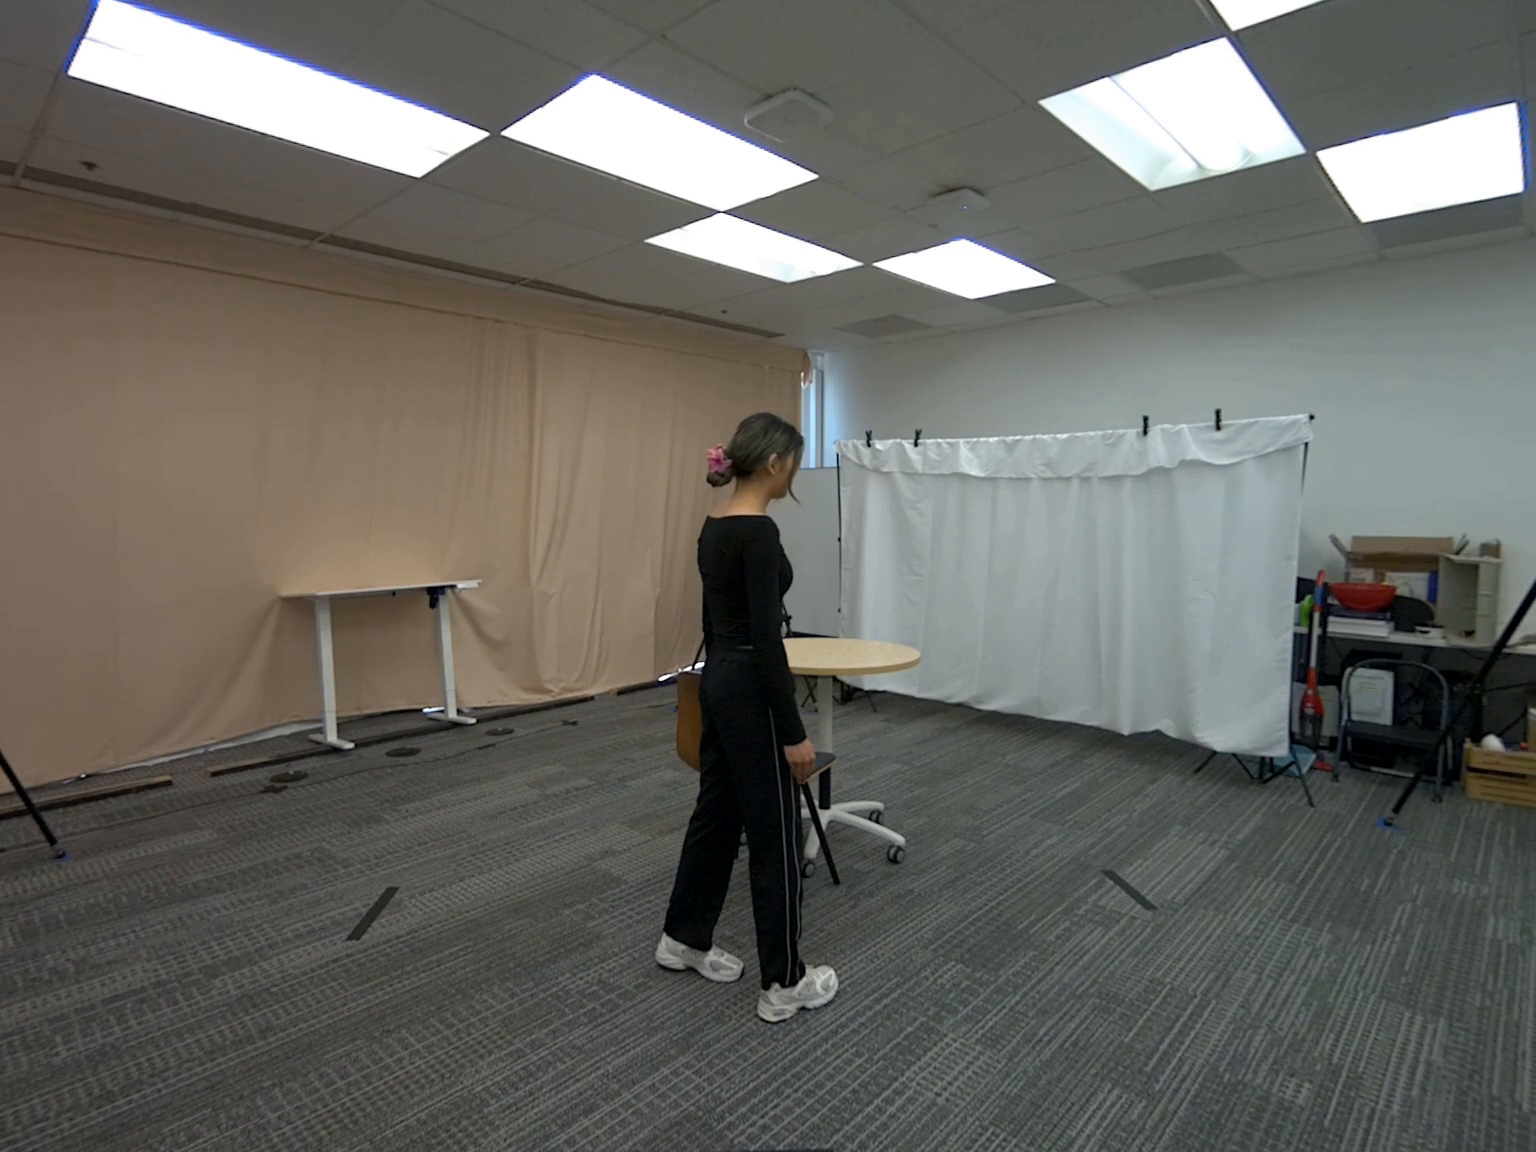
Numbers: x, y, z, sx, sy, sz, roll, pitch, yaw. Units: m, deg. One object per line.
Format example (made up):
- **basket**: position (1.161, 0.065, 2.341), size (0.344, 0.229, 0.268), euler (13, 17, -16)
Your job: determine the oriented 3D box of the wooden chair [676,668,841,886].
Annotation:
- **wooden chair**: position (-0.039, 0.712, 3.002), size (0.492, 0.873, 0.510), euler (2, 8, 31)
